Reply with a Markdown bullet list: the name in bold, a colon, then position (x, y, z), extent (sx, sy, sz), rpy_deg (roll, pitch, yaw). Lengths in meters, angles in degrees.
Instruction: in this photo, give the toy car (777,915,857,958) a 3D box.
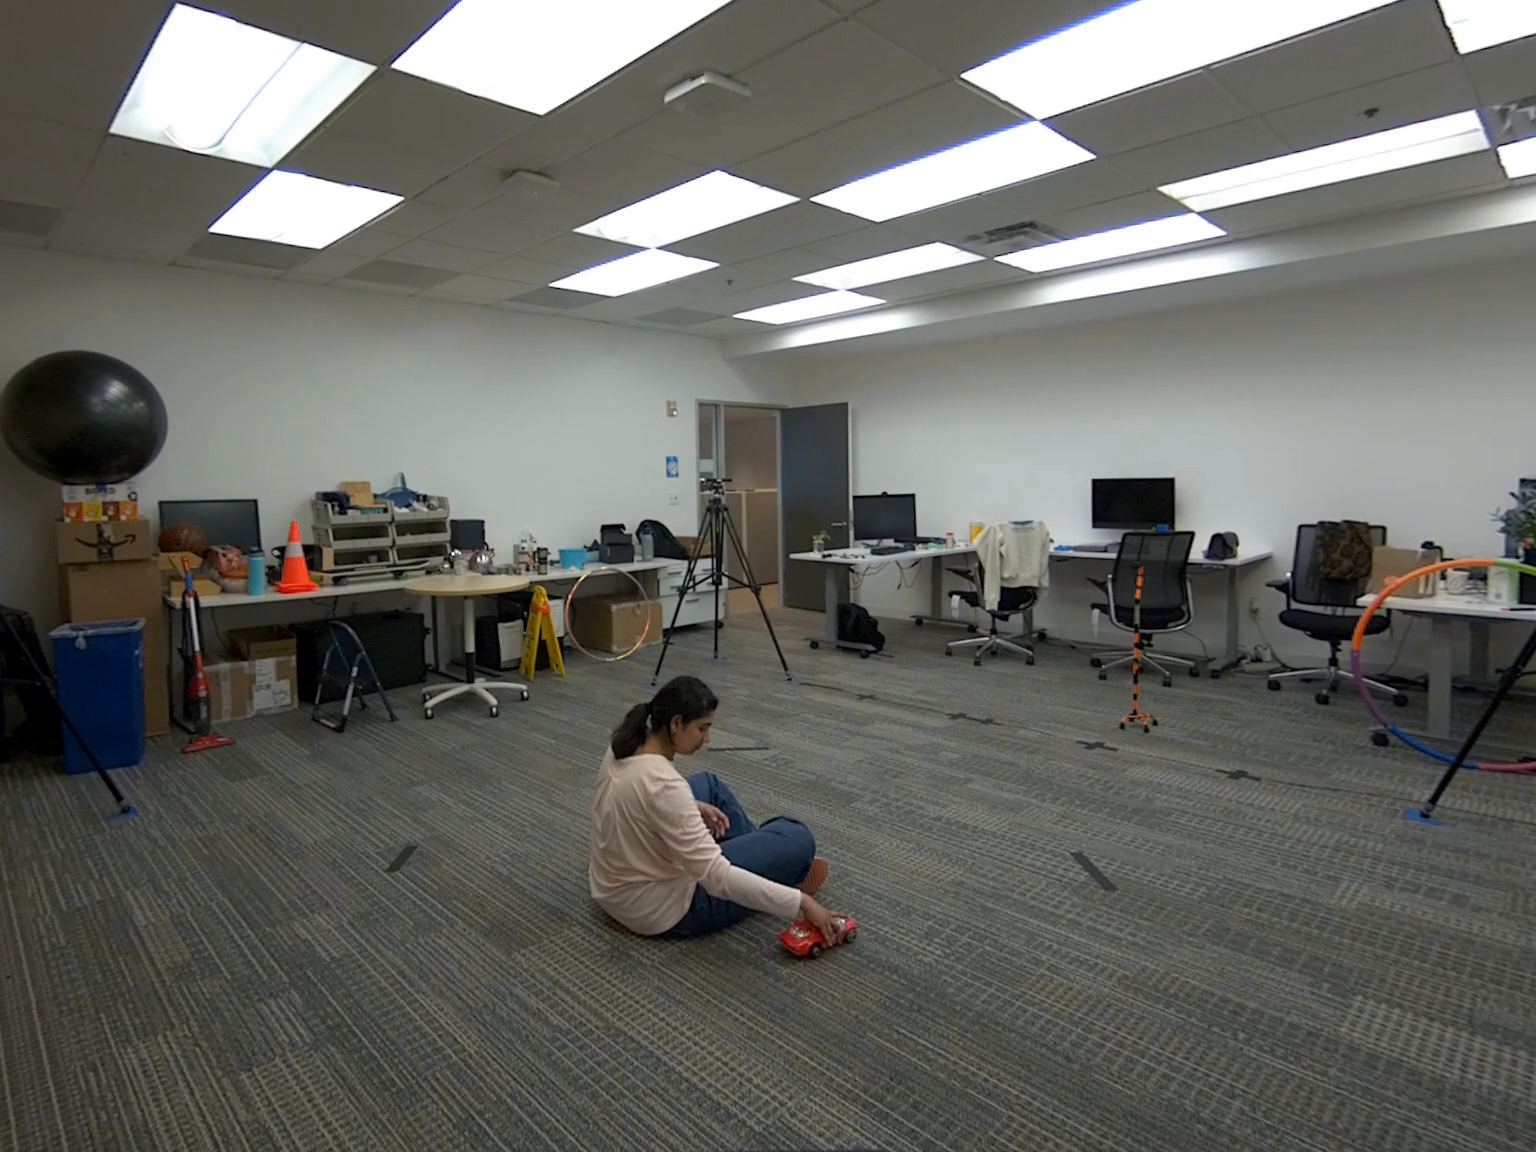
- **toy car**: position (0.141, 1.069, 2.555), extent (0.247, 0.083, 0.134), rpy_deg (7, 1, -35)
